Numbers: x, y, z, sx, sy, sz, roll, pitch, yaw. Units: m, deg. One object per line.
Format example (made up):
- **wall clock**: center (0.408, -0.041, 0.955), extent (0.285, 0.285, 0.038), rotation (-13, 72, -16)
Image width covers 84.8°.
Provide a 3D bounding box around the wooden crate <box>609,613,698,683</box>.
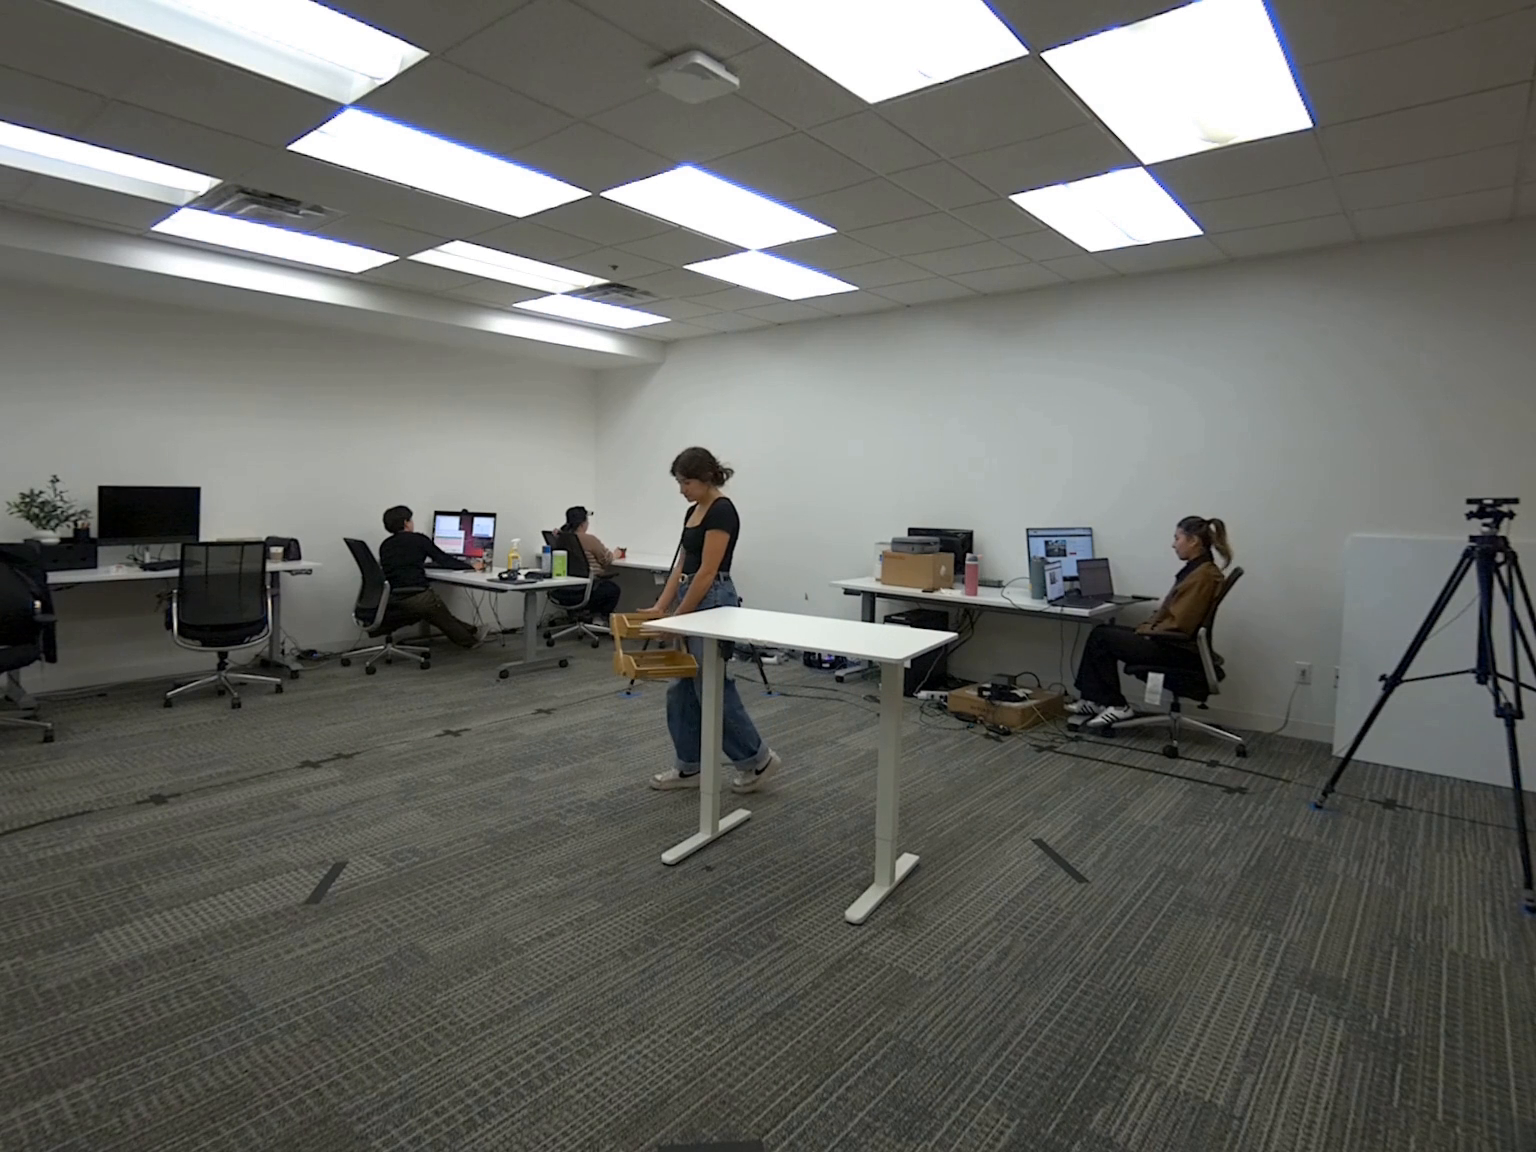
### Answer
- **wooden crate**: center (-0.519, 0.299, 3.757), extent (0.315, 0.274, 0.310), rotation (3, -1, -31)
